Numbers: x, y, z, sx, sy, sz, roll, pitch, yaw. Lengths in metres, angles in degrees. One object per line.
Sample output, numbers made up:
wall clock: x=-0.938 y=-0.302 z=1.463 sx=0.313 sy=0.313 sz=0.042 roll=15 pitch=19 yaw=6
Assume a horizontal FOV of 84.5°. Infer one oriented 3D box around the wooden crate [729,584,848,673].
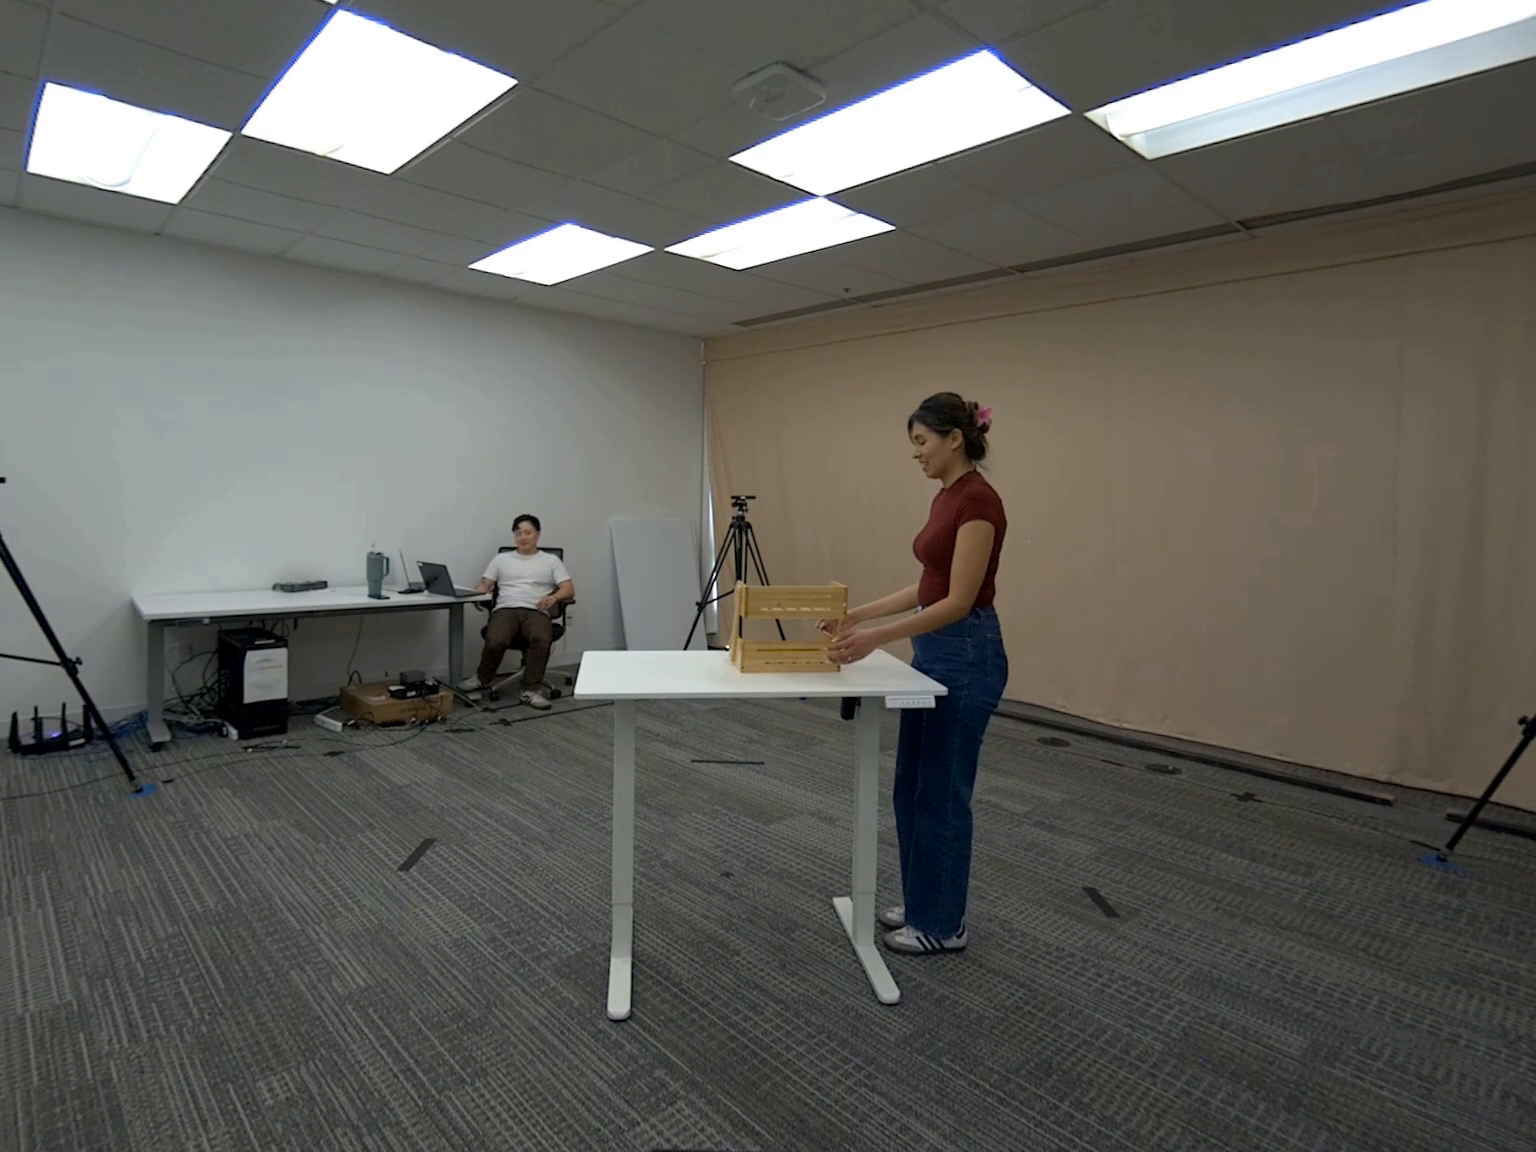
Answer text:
wooden crate: x=0.050 y=0.141 z=2.565 sx=0.322 sy=0.272 sz=0.305 roll=0 pitch=6 yaw=-10
